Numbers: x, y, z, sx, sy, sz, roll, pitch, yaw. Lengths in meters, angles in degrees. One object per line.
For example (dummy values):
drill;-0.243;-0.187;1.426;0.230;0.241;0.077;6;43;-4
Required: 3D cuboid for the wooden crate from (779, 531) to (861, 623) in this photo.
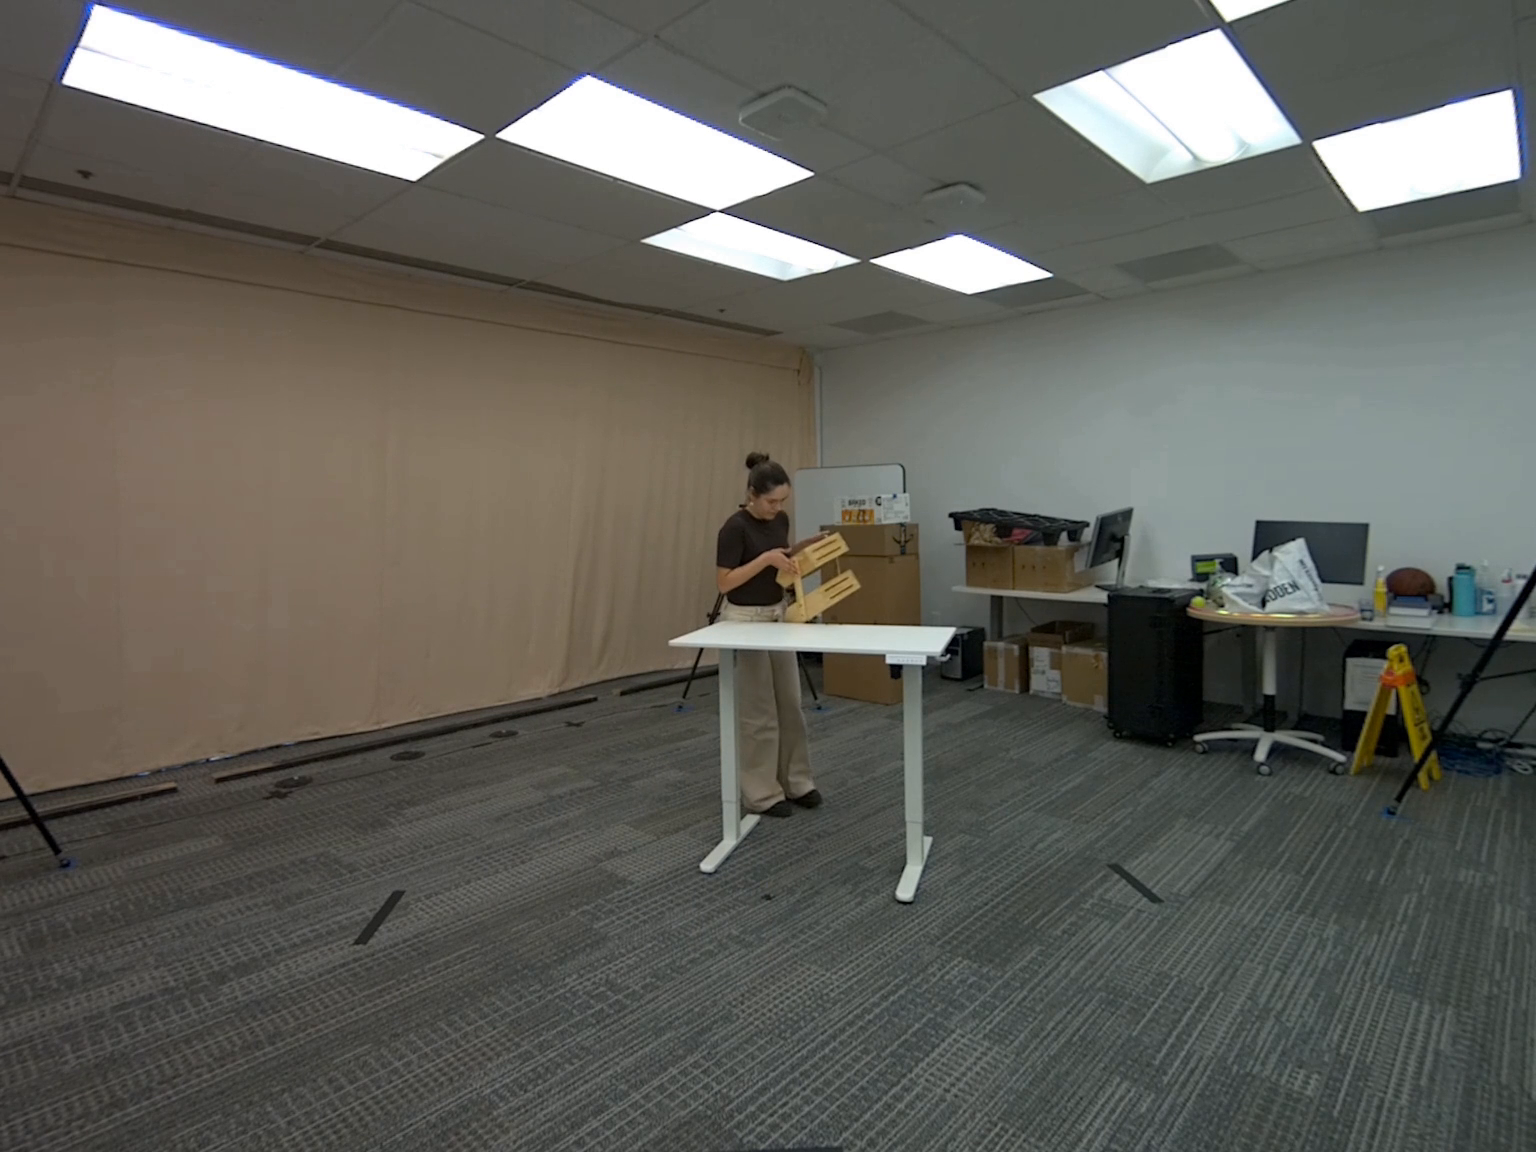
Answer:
wooden crate;0.204;0.020;3.704;0.306;0.275;0.317;-35;-6;40
